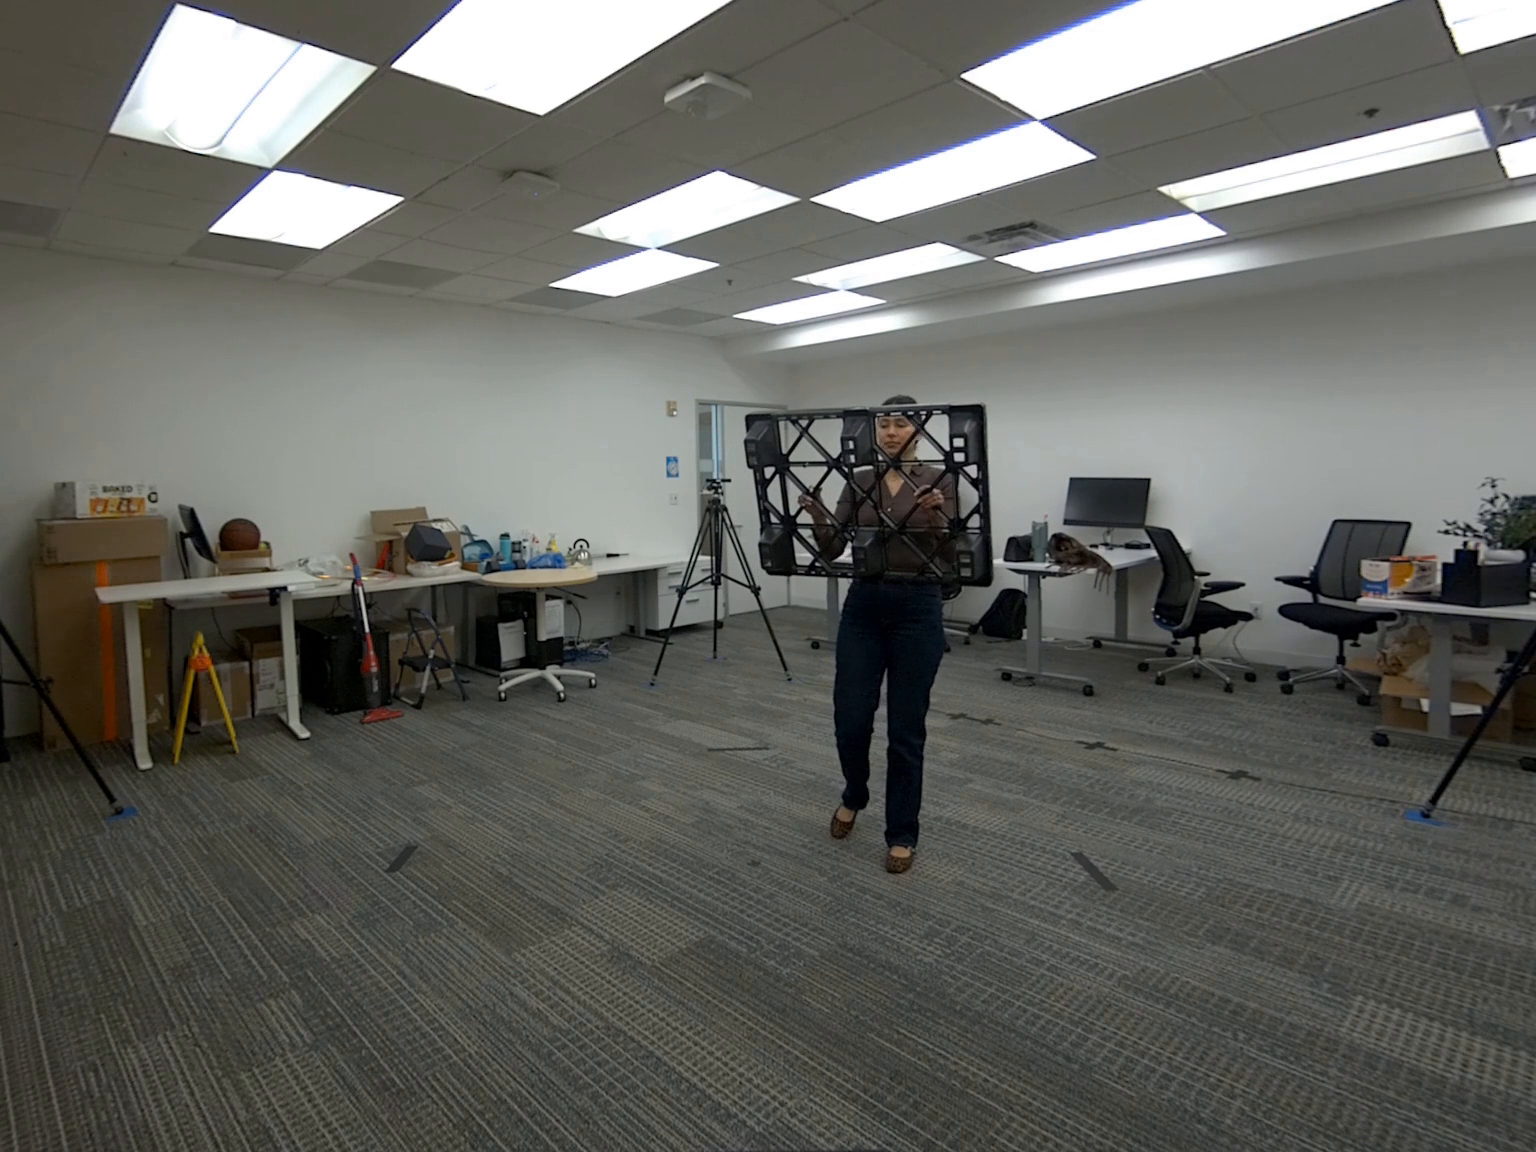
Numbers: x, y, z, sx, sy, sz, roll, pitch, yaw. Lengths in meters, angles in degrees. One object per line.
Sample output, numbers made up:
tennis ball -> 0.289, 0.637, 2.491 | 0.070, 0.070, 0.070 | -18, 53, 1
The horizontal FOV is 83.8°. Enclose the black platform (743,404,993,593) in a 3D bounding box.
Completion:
black platform -> 0.306, -0.250, 2.802 | 0.826, 0.593, 0.142 | 3, 22, 27
